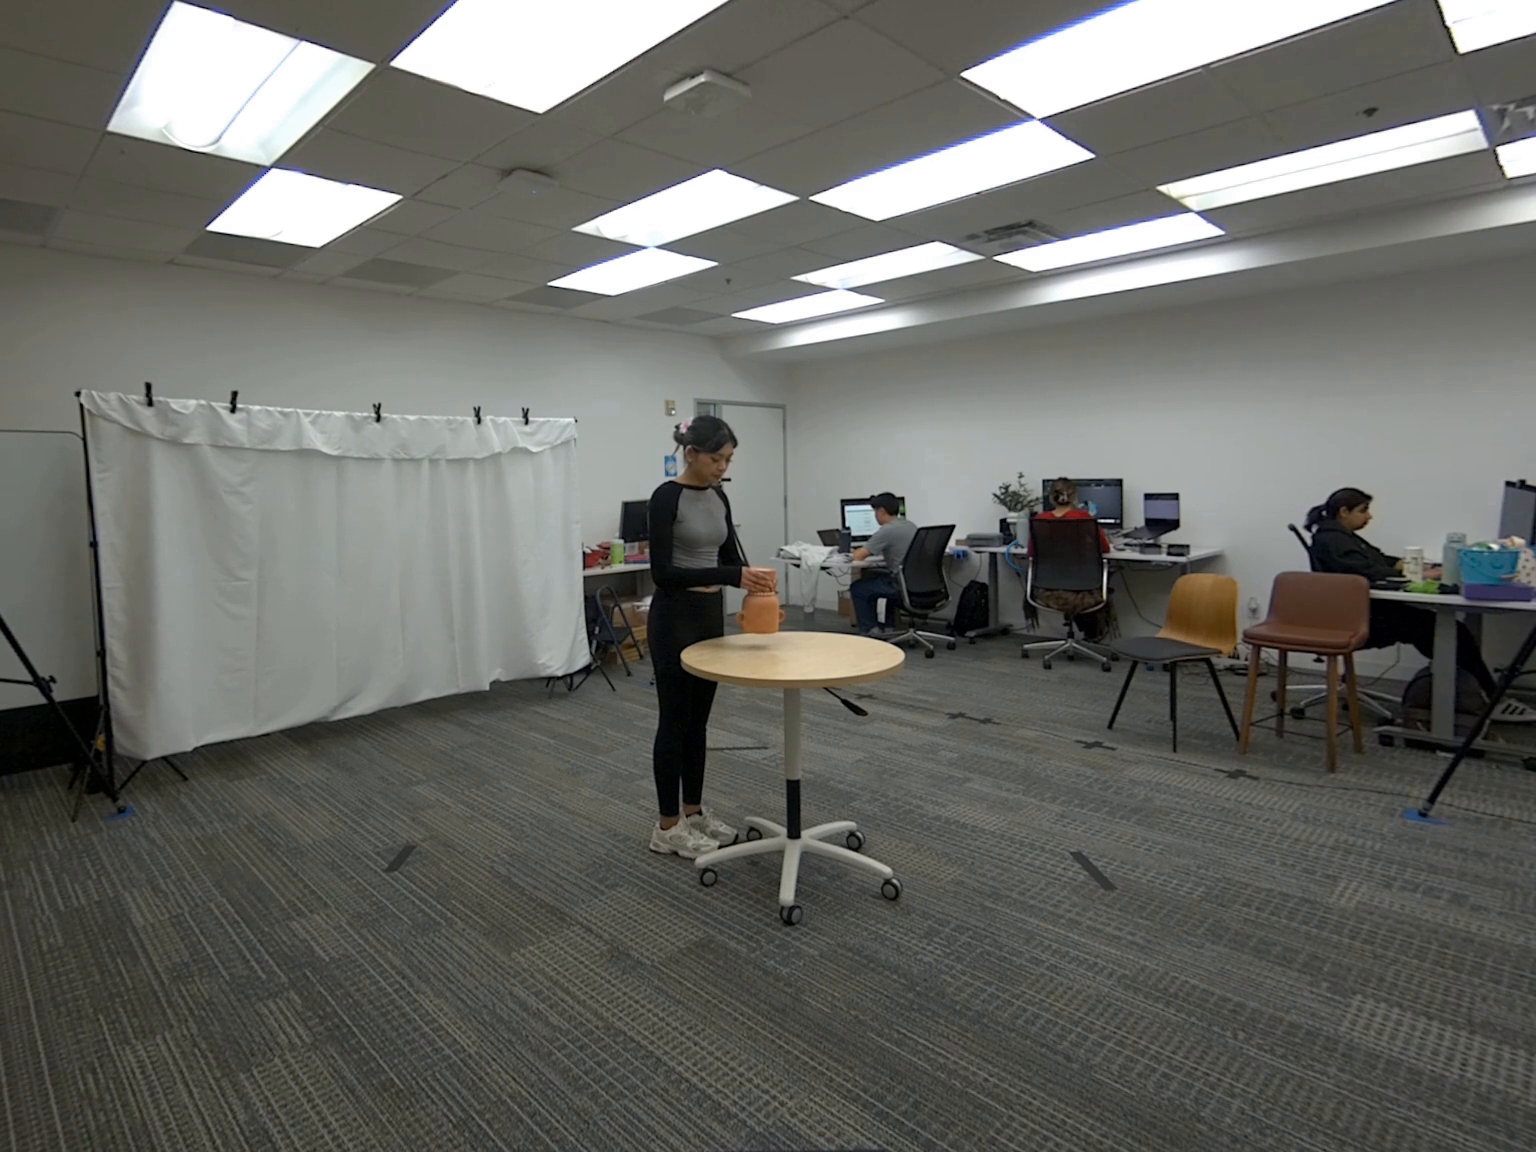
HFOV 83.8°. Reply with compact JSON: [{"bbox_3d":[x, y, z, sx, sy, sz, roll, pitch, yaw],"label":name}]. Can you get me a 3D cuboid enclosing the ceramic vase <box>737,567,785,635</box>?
[{"bbox_3d":[-0.028,0.083,3.019,0.137,0.219,0.156,4,4,22],"label":"ceramic vase"}]
